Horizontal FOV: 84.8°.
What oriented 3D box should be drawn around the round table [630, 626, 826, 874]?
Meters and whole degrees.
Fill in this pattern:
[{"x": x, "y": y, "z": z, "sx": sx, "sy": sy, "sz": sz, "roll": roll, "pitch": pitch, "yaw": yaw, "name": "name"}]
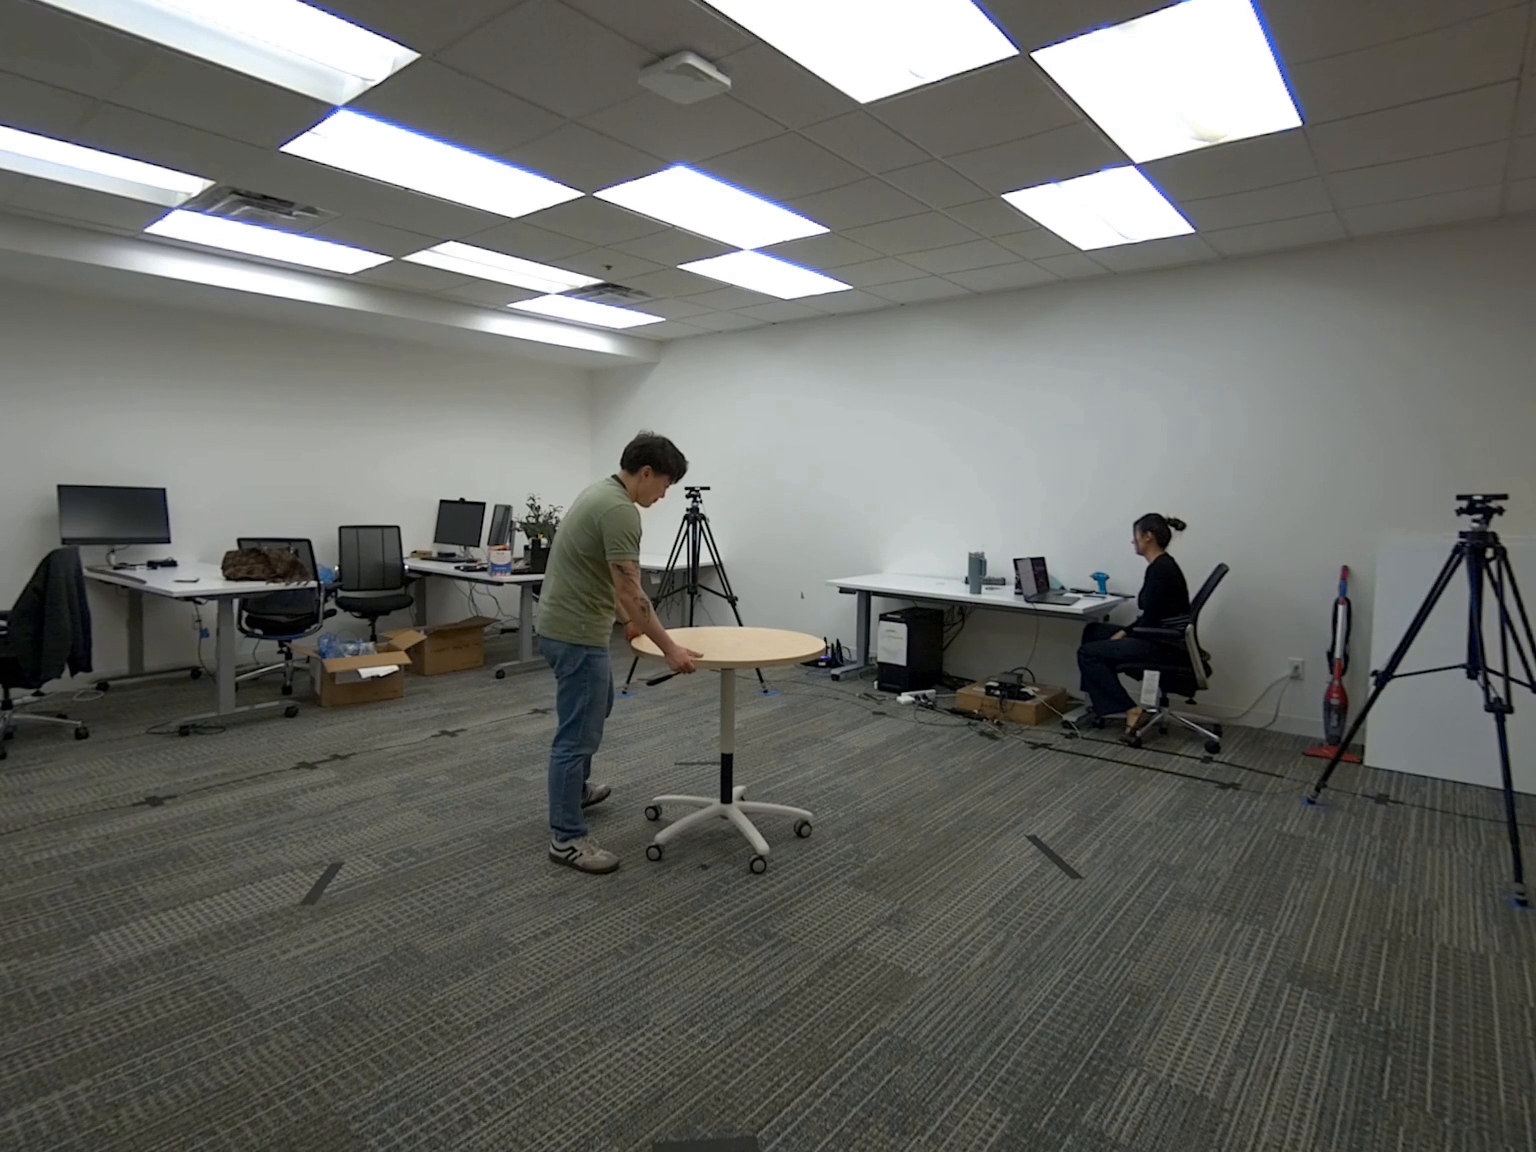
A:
[{"x": -0.175, "y": 0.654, "z": 3.370, "sx": 0.763, "sy": 0.791, "sz": 0.768, "roll": 1, "pitch": 4, "yaw": -2, "name": "round table"}]
